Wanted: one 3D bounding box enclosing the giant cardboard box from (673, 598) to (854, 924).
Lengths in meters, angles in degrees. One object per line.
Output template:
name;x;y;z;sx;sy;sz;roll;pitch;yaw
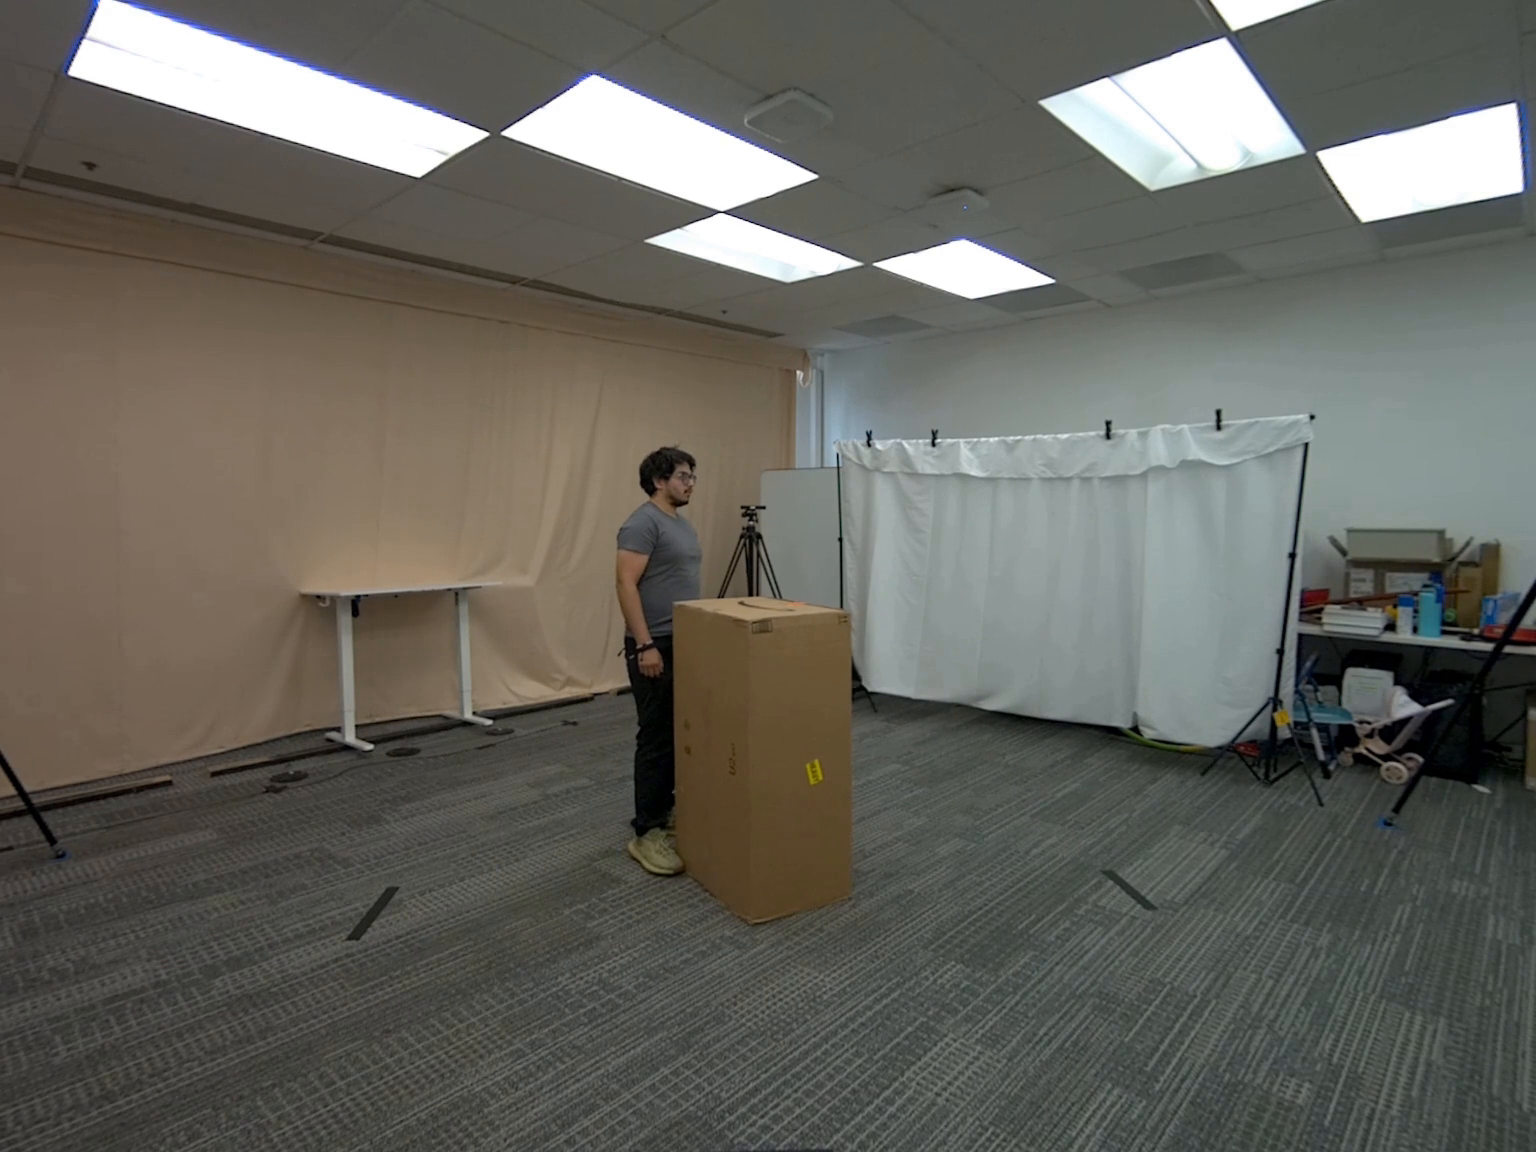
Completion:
giant cardboard box;-0.027;0.625;3.111;0.435;1.025;0.601;-3;4;-32
